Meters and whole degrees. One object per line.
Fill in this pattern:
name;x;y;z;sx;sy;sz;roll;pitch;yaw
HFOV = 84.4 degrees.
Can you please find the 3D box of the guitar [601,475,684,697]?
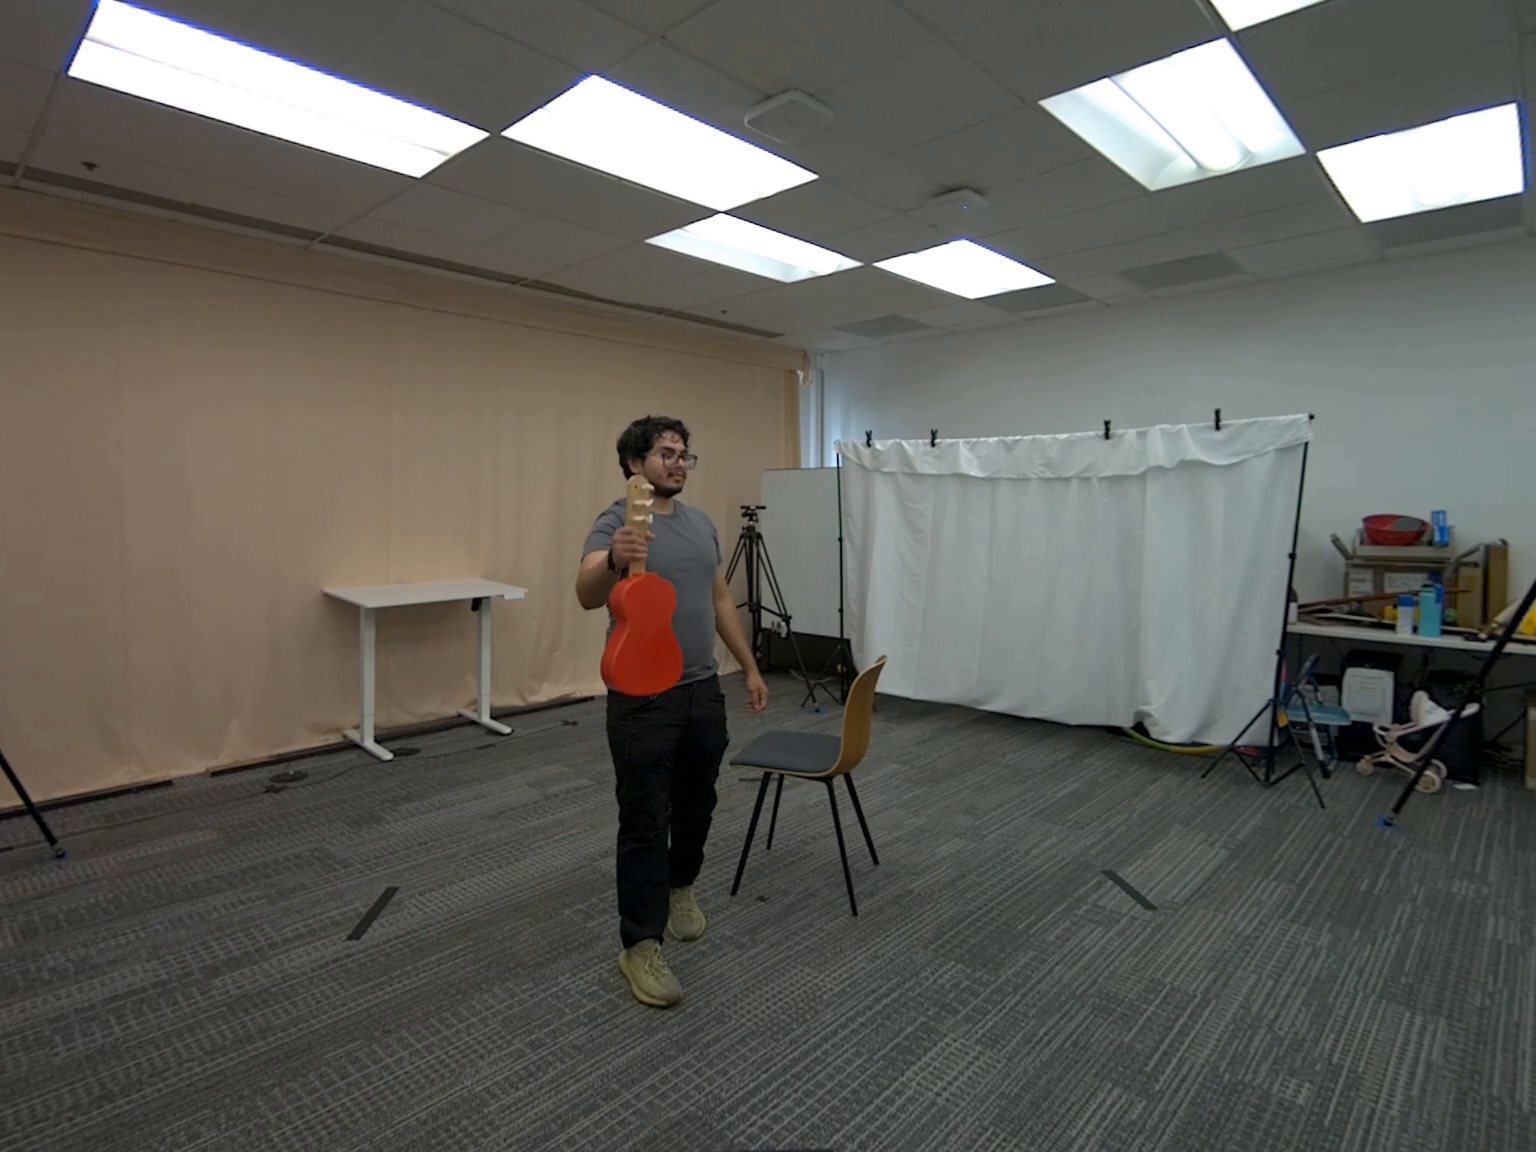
guitar;-0.306;0.020;1.942;0.188;0.496;0.073;-12;7;-38
